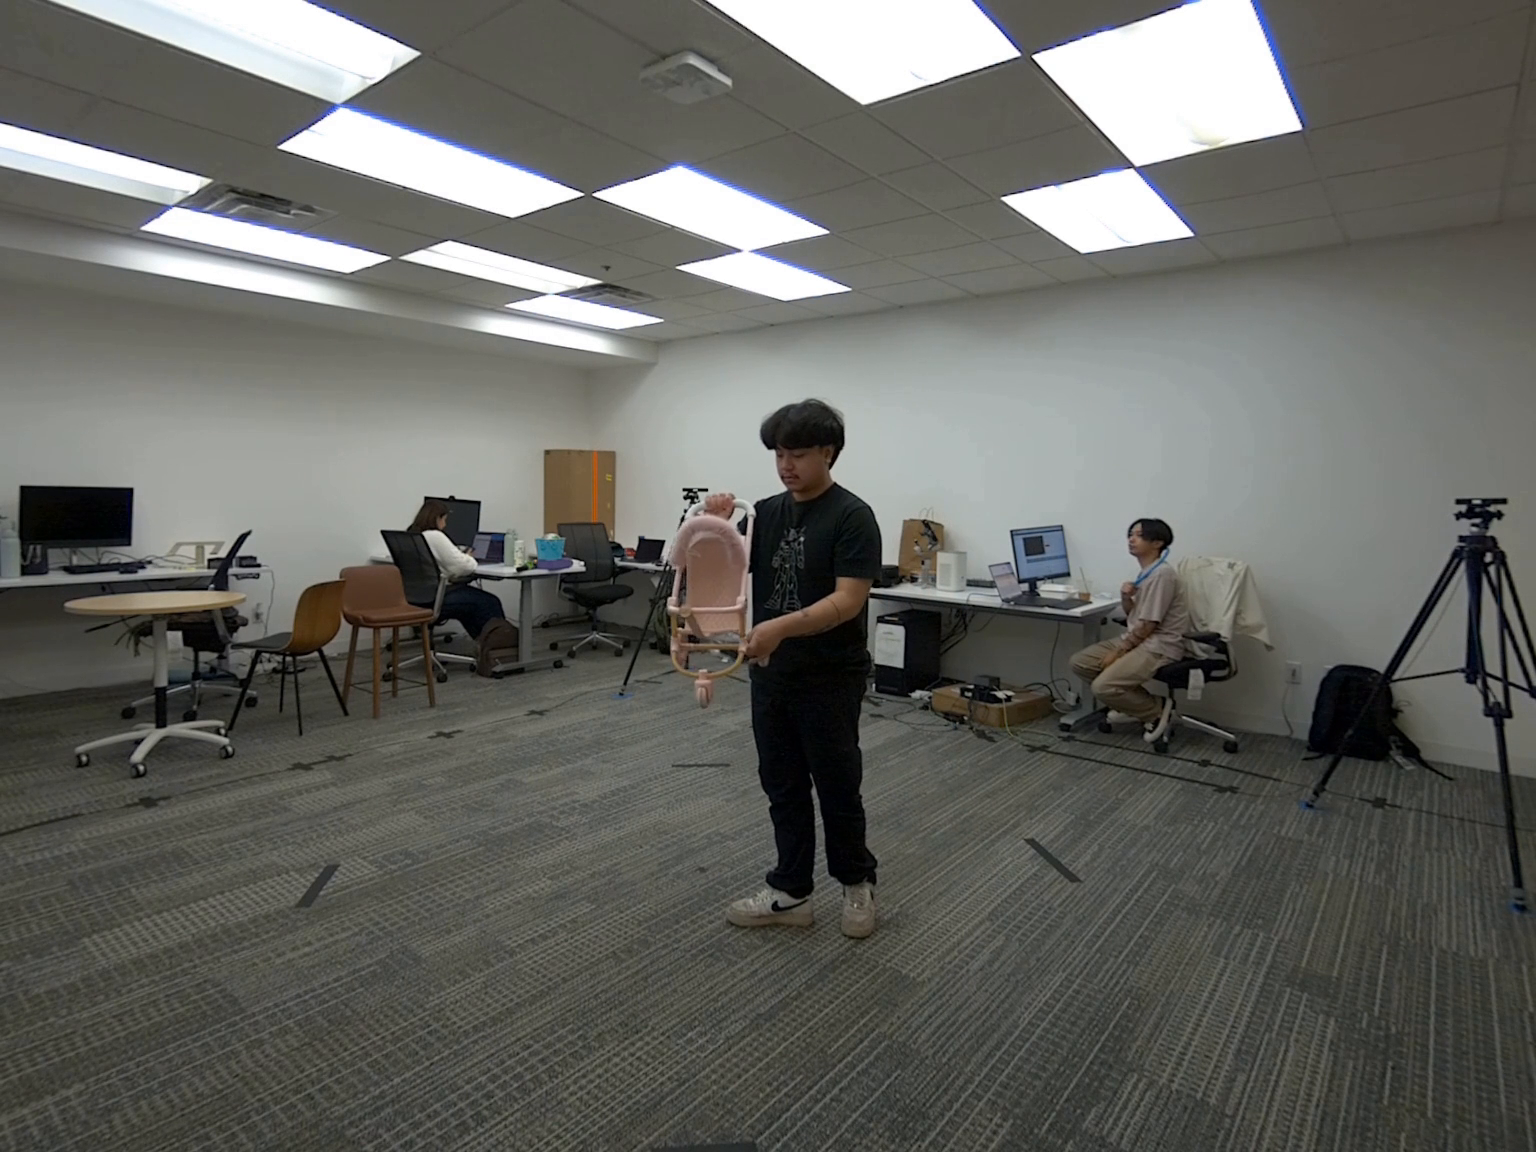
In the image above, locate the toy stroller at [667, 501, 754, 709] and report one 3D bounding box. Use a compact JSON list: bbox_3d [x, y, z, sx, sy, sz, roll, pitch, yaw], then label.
[{"bbox_3d":[-0.165,0.062,2.348,0.286,0.532,0.338,0,6,13],"label":"toy stroller"}]
